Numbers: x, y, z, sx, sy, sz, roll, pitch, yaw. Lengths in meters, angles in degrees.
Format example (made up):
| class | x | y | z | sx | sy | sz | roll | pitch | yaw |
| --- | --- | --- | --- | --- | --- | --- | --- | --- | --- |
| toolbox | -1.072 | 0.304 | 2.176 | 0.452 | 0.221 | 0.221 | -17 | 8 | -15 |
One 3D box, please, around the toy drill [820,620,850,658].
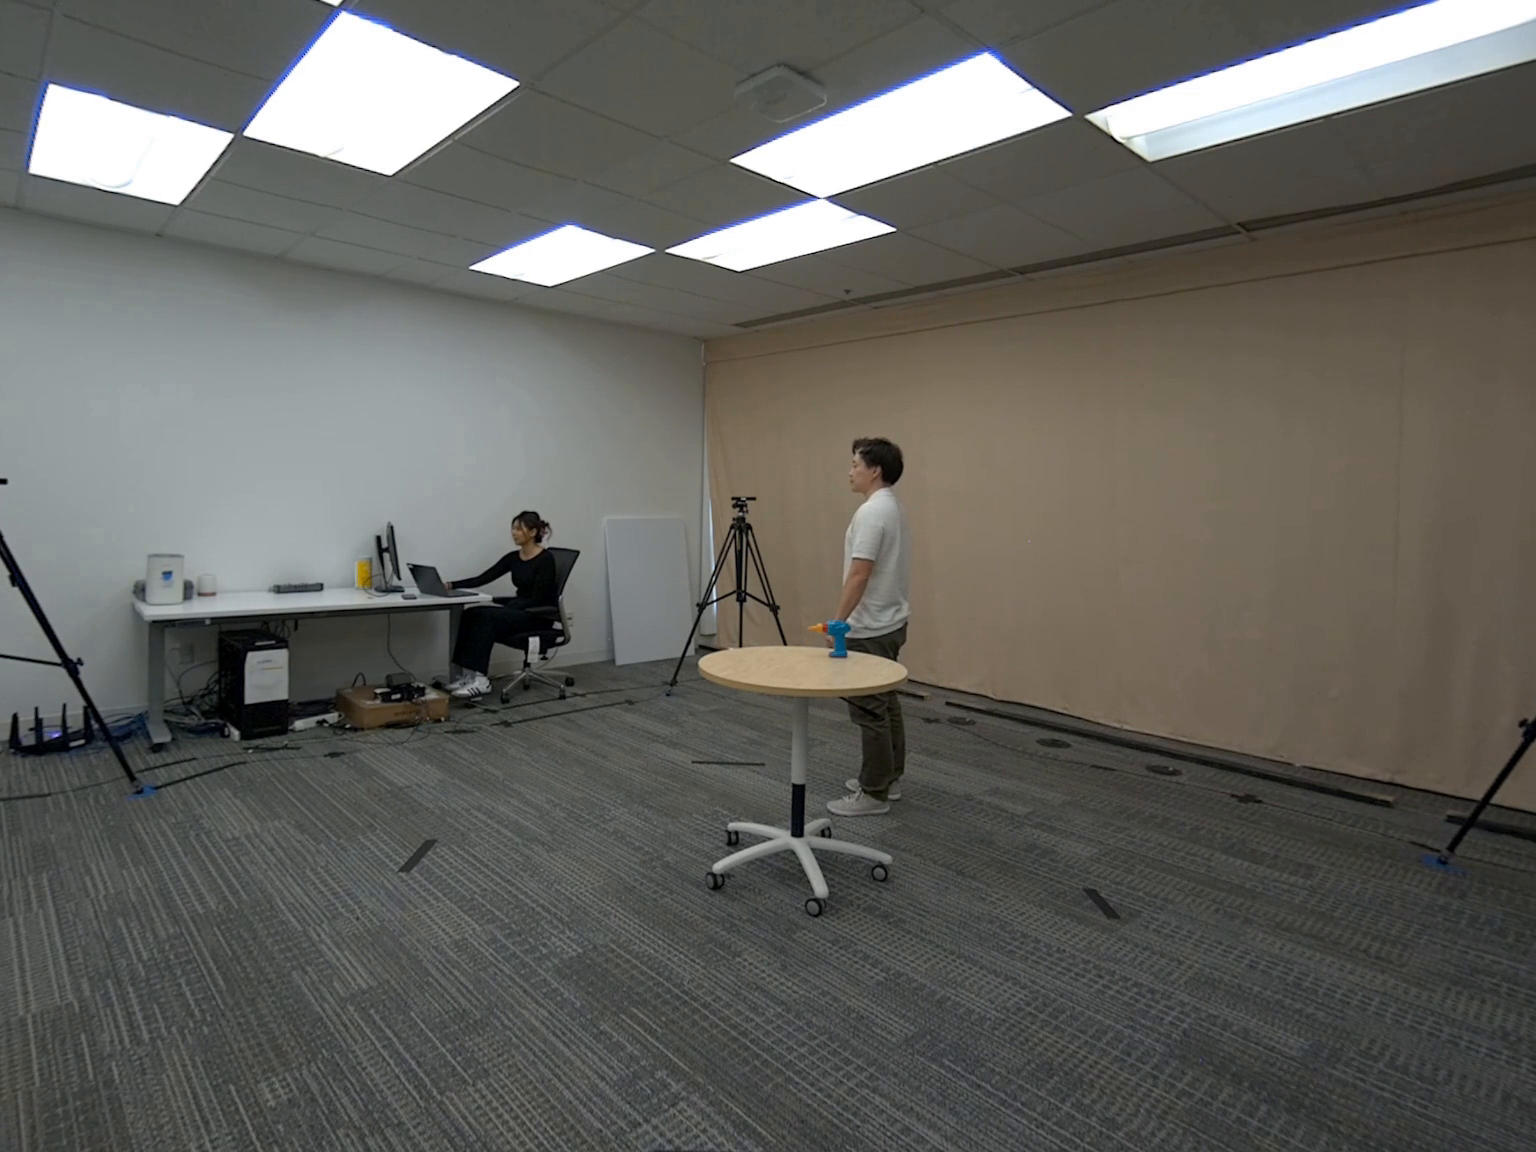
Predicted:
| class | x | y | z | sx | sy | sz | roll | pitch | yaw |
| --- | --- | --- | --- | --- | --- | --- | --- | --- | --- |
| toy drill | 0.237 | 0.244 | 3.279 | 0.168 | 0.145 | 0.062 | 1 | 7 | -11 |
